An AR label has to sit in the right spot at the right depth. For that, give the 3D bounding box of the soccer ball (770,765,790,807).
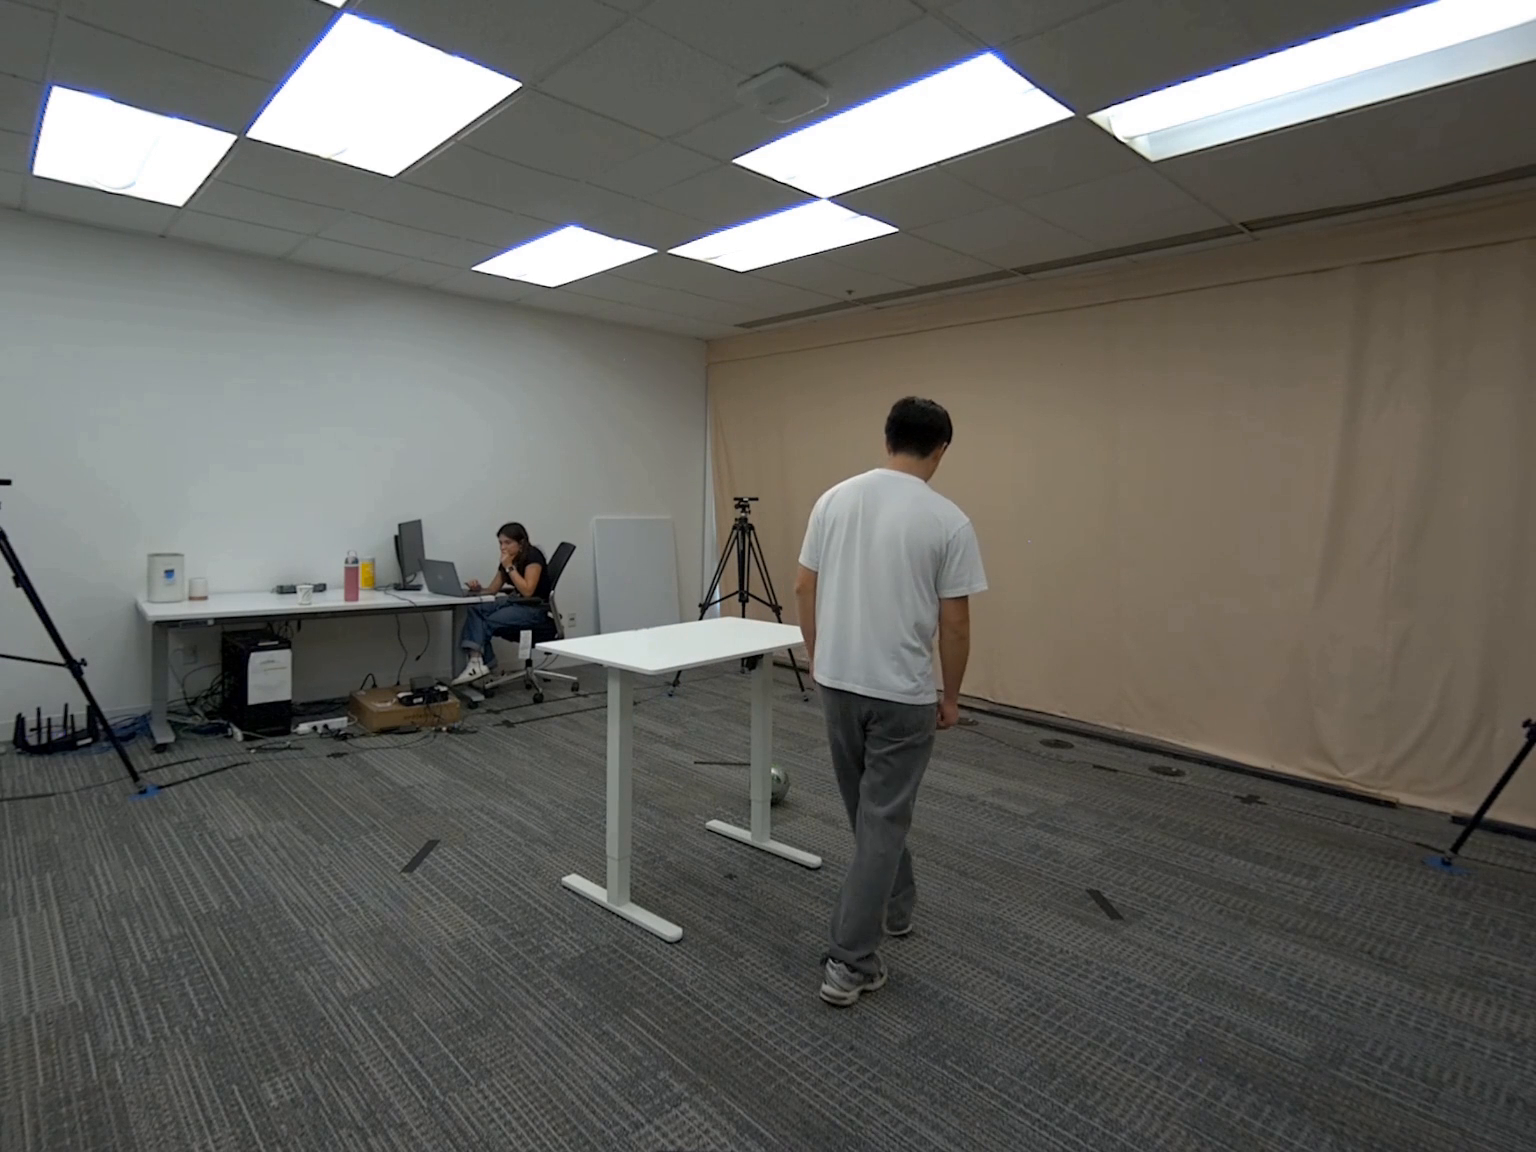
[{"bbox_3d":[-0.006,0.960,3.872,0.187,0.187,0.188,1,4,-1],"label":"soccer ball"}]
